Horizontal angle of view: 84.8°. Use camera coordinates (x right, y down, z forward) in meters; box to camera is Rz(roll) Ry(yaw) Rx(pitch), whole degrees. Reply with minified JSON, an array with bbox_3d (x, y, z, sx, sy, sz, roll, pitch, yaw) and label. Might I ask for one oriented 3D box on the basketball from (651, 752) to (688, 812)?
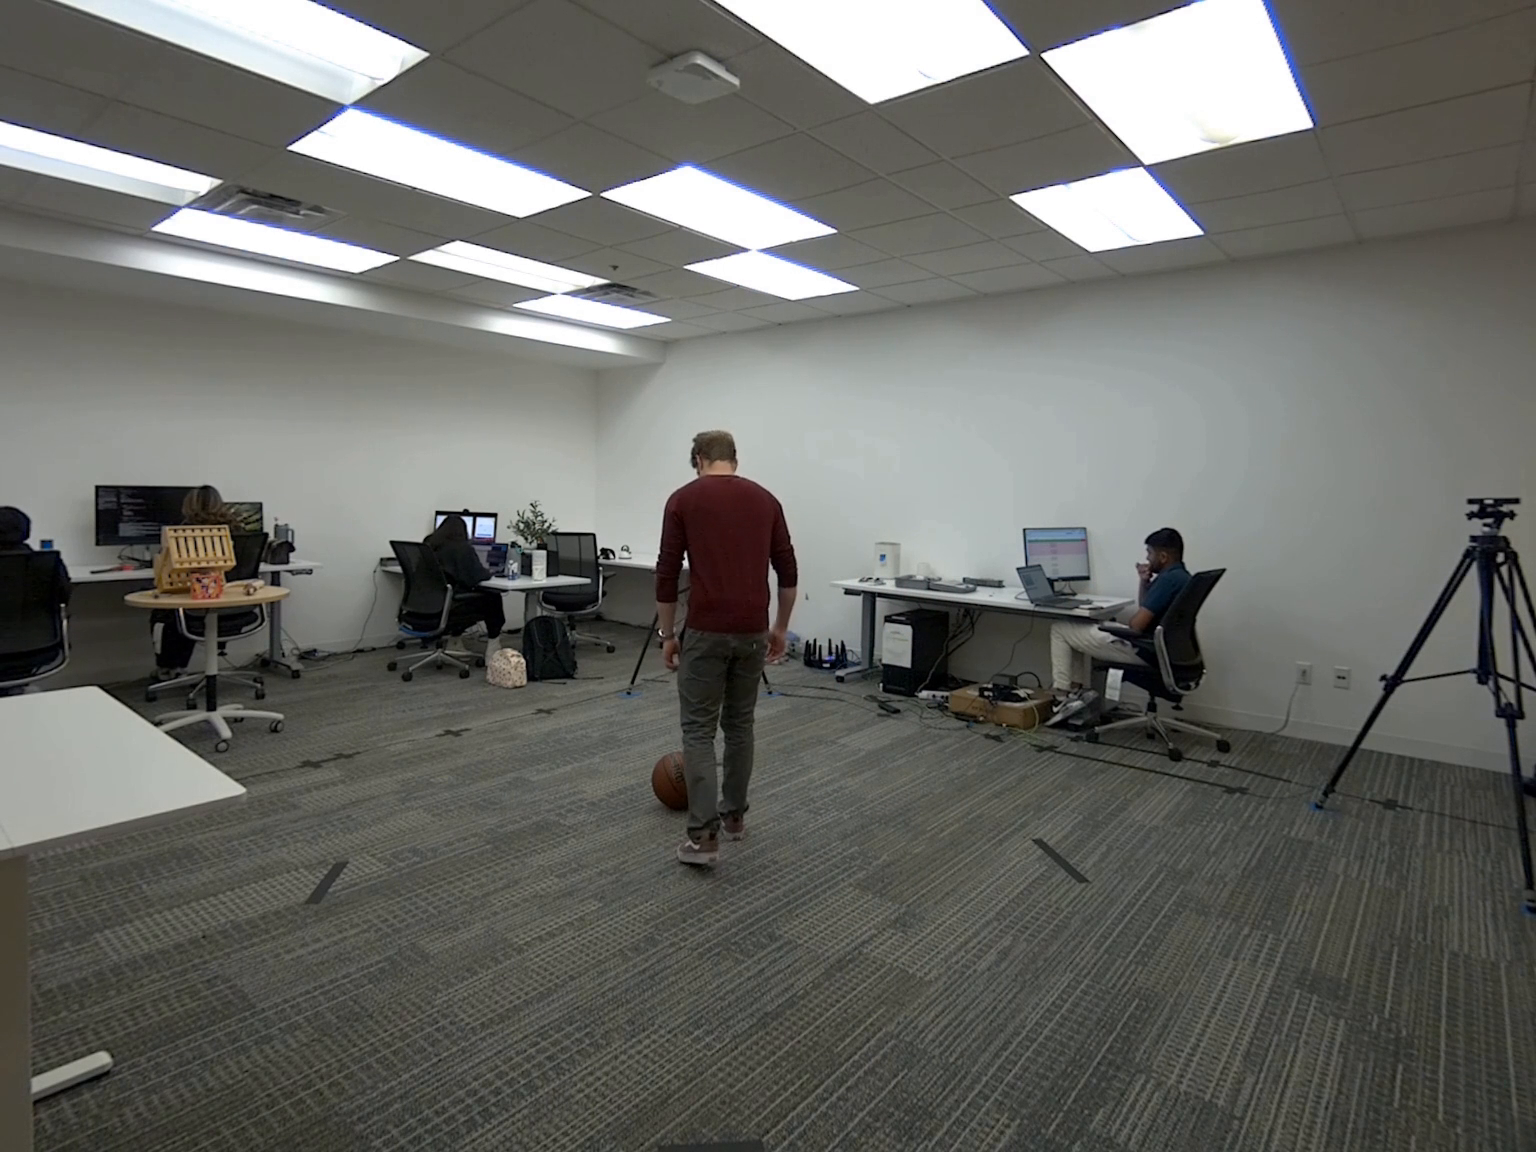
[{"bbox_3d":[-0.399,0.884,3.712,0.235,0.235,0.237,1,4,-2],"label":"basketball"}]
